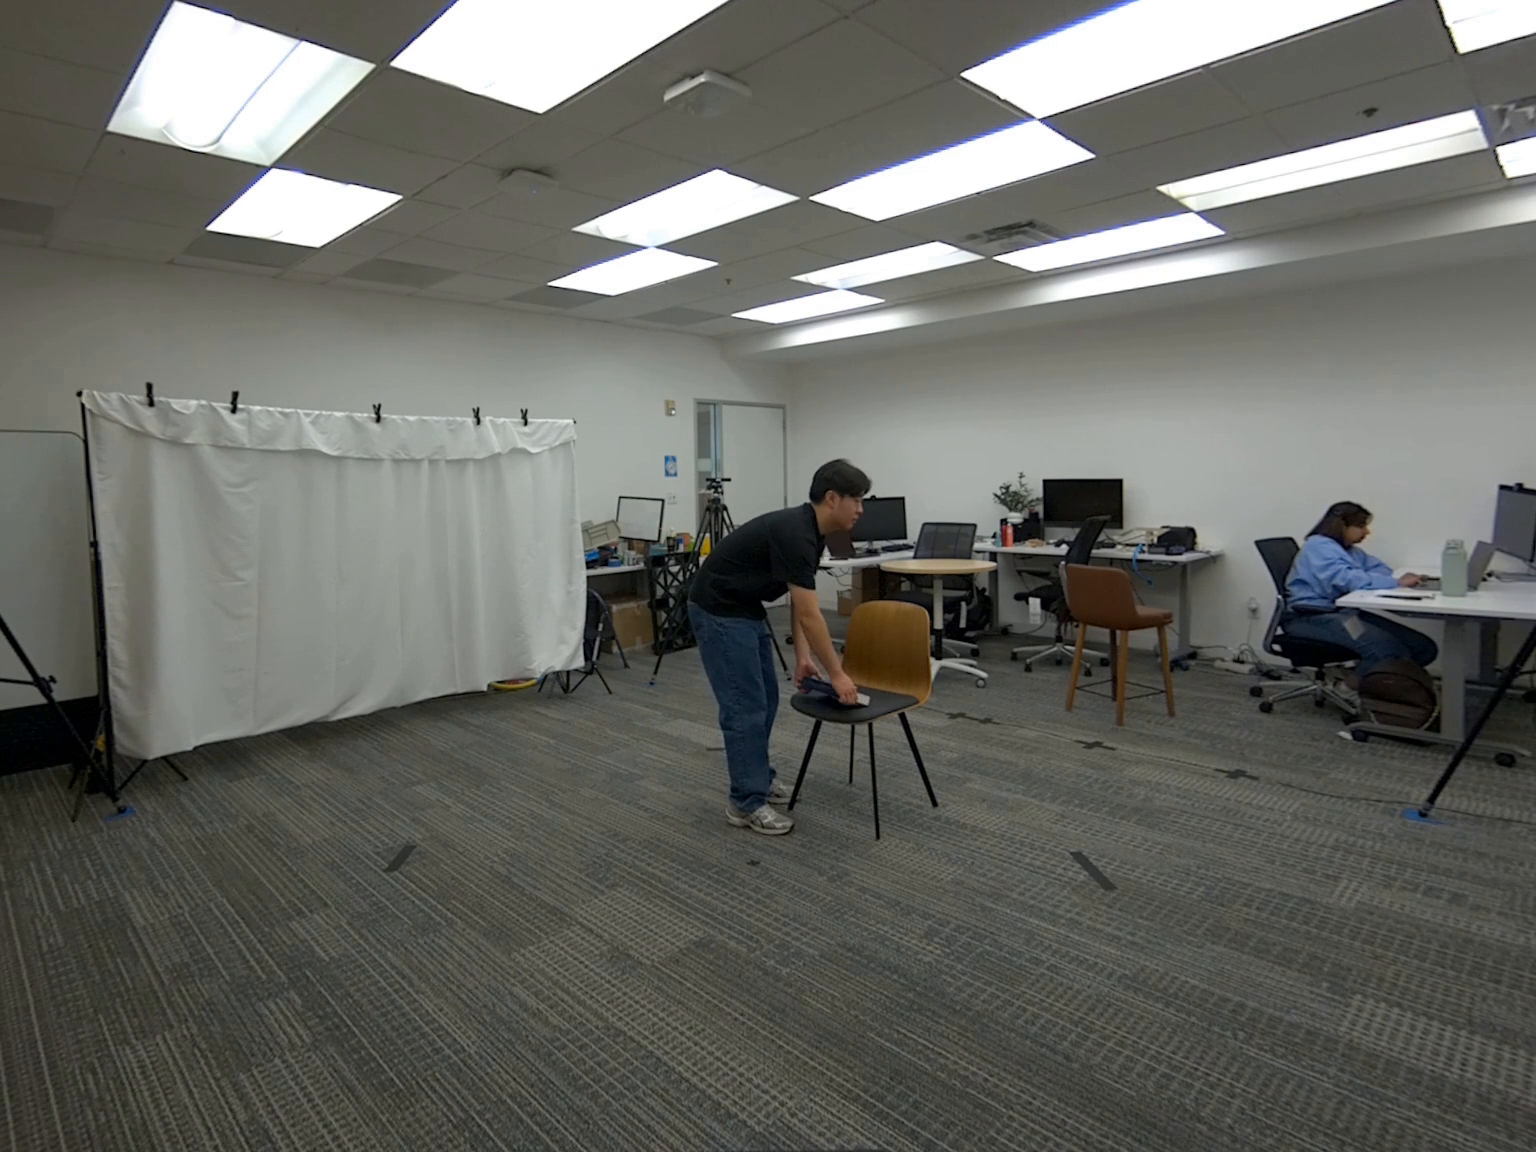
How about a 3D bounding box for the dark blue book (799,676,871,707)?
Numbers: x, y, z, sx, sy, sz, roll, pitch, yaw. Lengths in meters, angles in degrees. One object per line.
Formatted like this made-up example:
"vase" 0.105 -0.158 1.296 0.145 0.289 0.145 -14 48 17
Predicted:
"dark blue book" 0.273 0.455 3.442 0.157 0.045 0.253 21 -8 -39
